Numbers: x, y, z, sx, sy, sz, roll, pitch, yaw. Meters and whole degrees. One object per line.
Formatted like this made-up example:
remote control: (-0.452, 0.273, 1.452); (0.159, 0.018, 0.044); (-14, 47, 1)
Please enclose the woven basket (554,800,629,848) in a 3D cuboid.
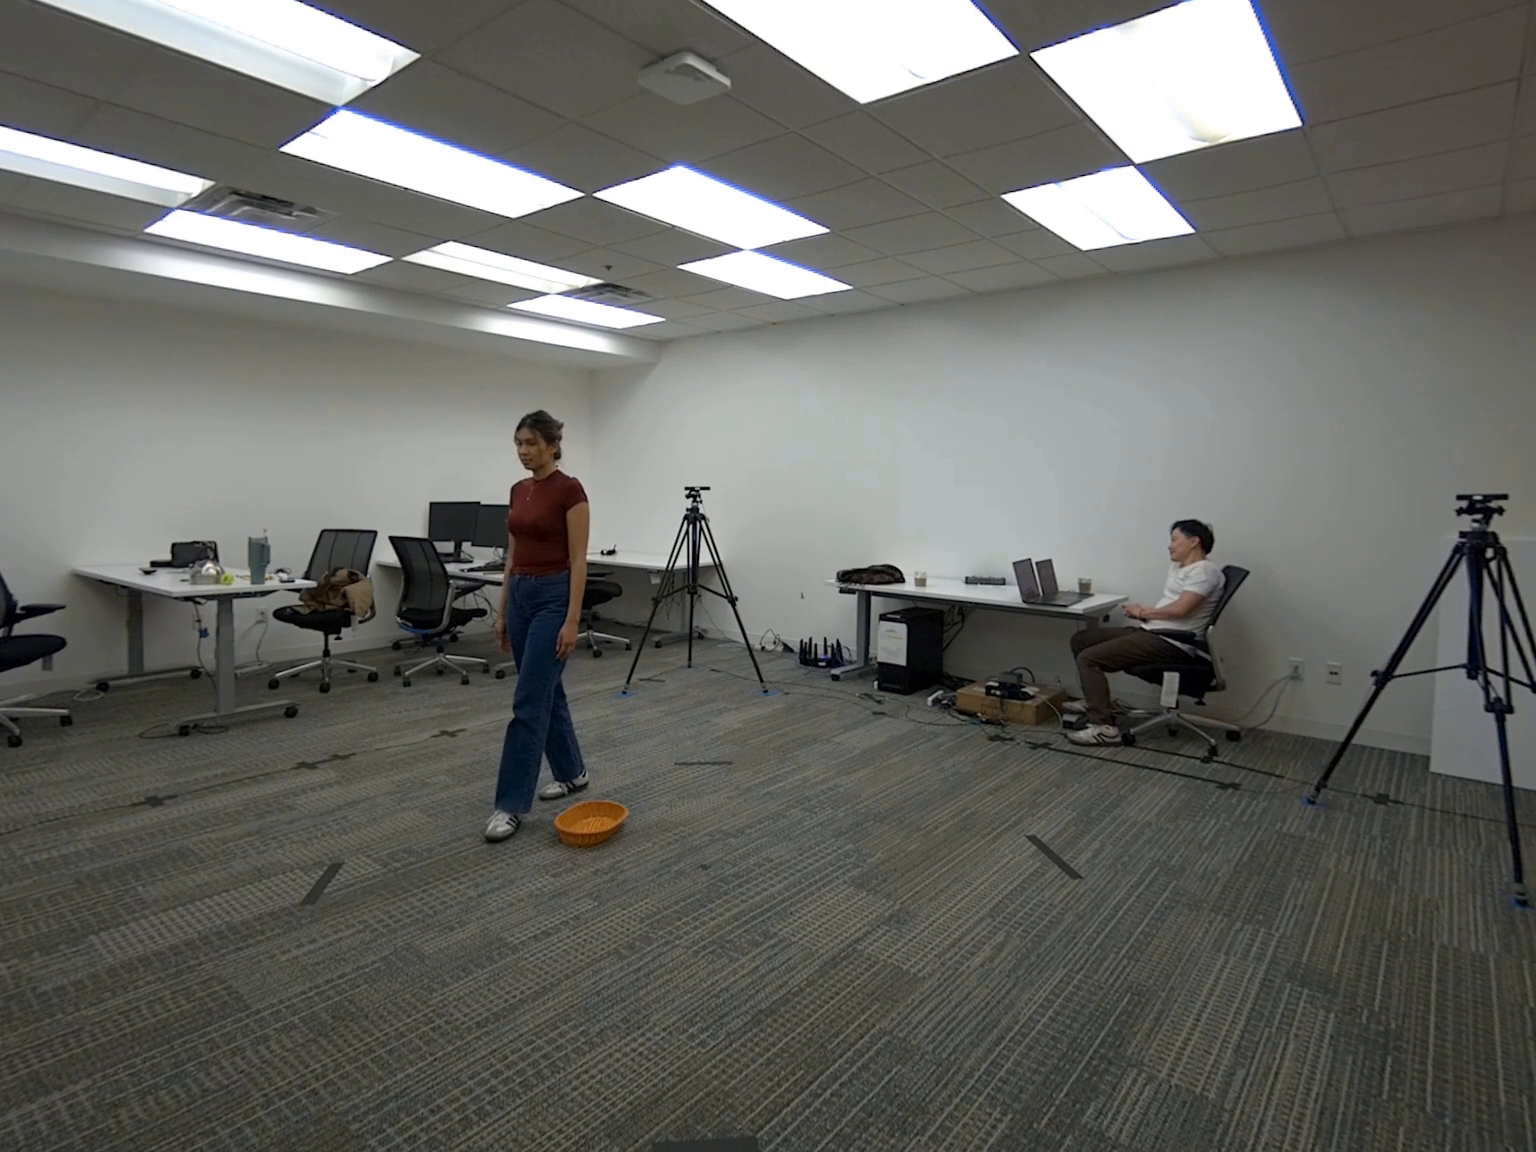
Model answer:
woven basket: (-0.715, 0.991, 3.409); (0.258, 0.073, 0.344); (4, 6, 20)
